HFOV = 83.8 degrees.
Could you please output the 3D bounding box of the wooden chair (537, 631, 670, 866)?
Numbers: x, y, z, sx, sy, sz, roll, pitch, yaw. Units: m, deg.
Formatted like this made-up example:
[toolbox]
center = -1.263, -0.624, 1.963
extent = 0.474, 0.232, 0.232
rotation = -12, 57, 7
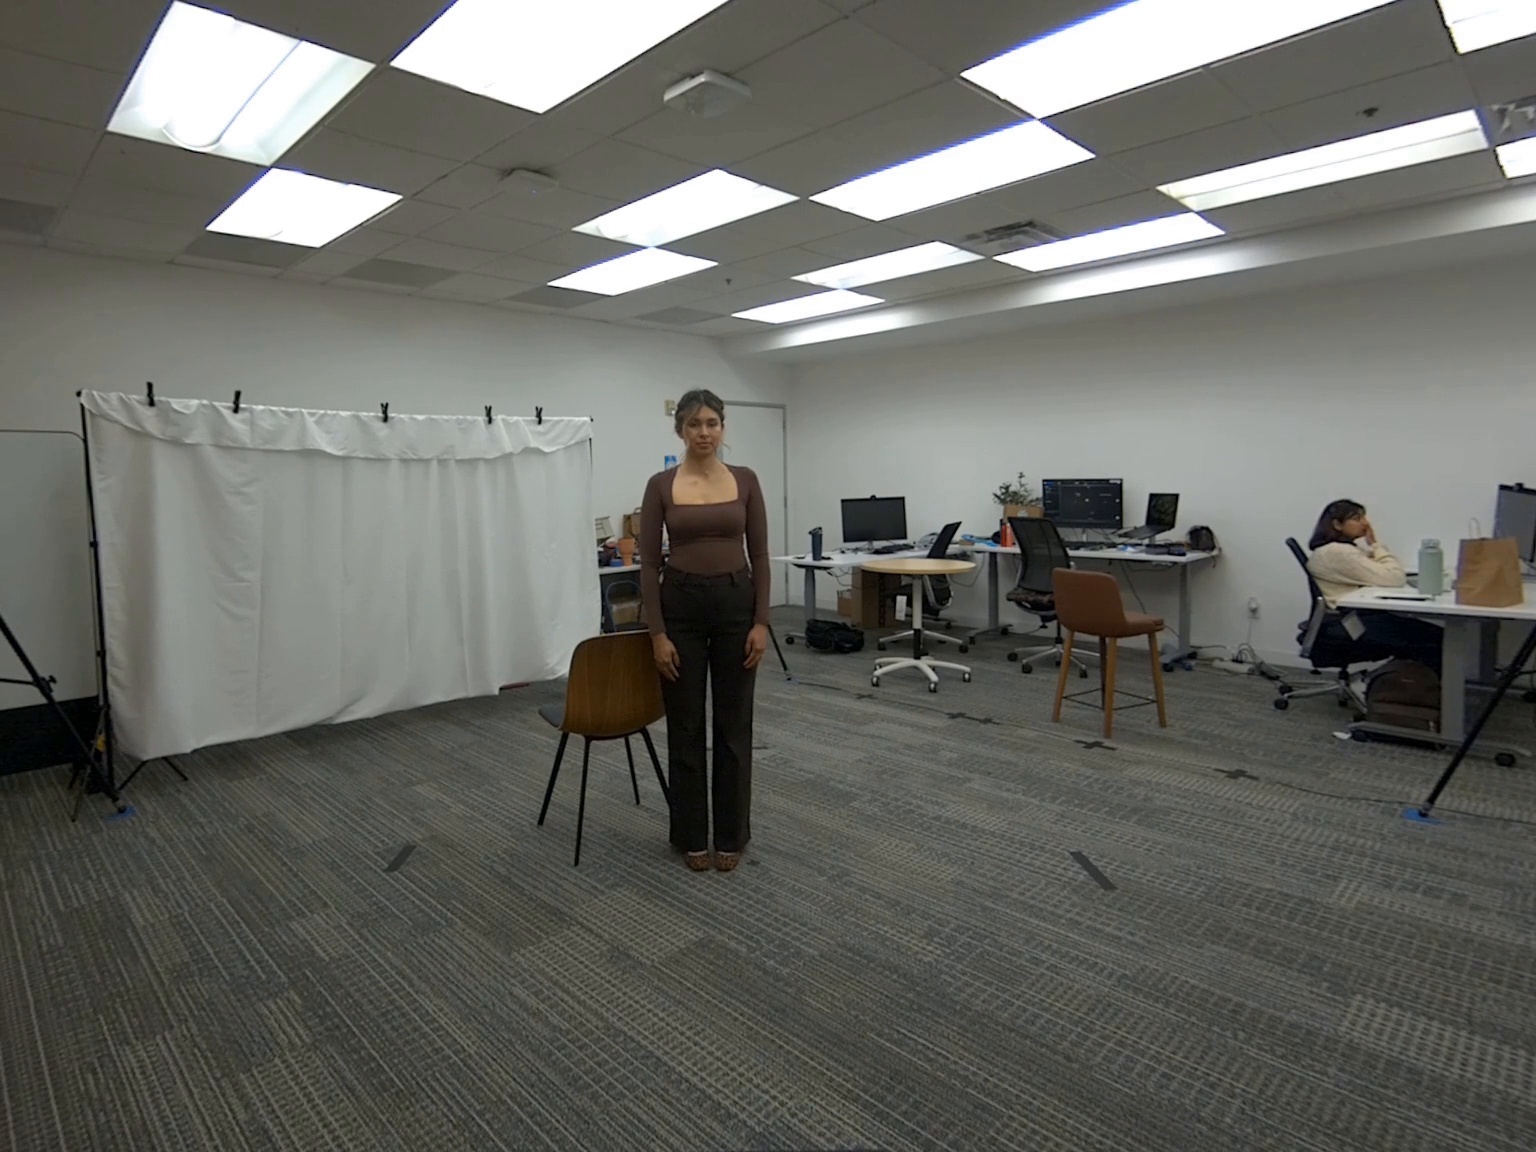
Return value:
[wooden chair]
center = -0.642, 0.598, 3.375
extent = 0.467, 0.871, 0.539
rotation = -4, 9, -30
